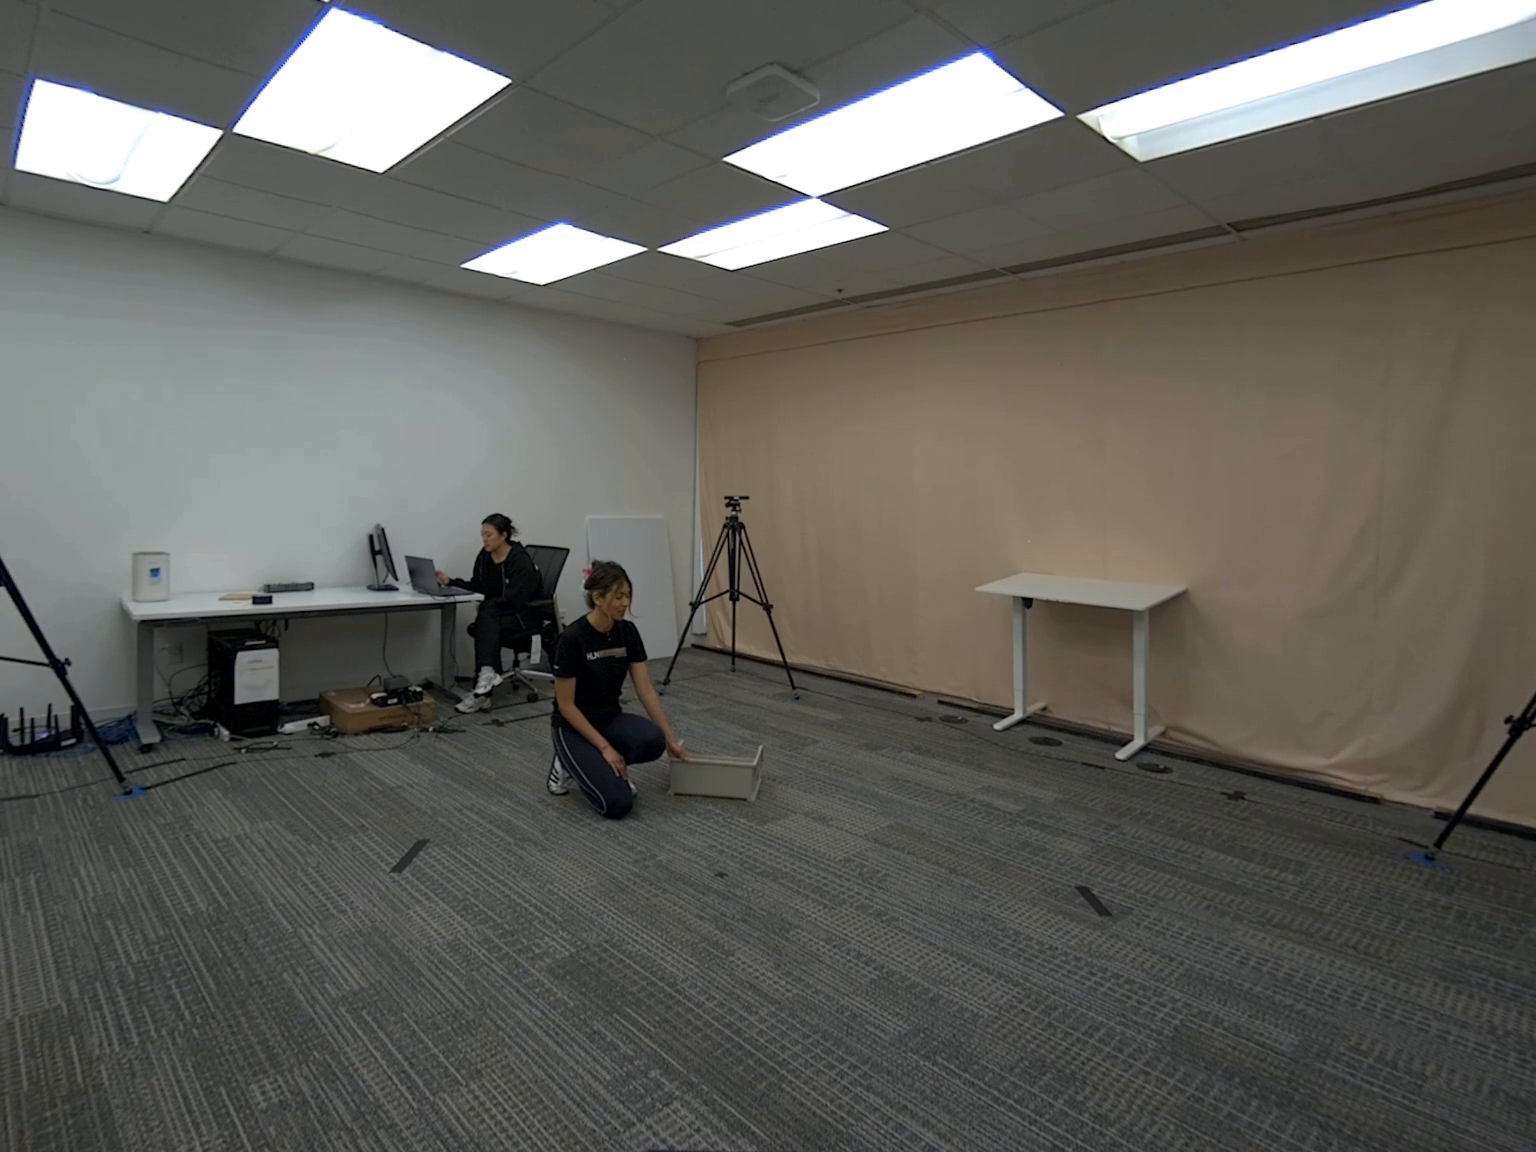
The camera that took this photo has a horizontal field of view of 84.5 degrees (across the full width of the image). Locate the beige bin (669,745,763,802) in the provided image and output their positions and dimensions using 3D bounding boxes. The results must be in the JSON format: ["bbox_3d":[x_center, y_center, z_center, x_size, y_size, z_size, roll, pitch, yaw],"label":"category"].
[{"bbox_3d":[-0.258,0.929,4.087,0.425,0.188,0.376,2,6,6],"label":"beige bin"}]
